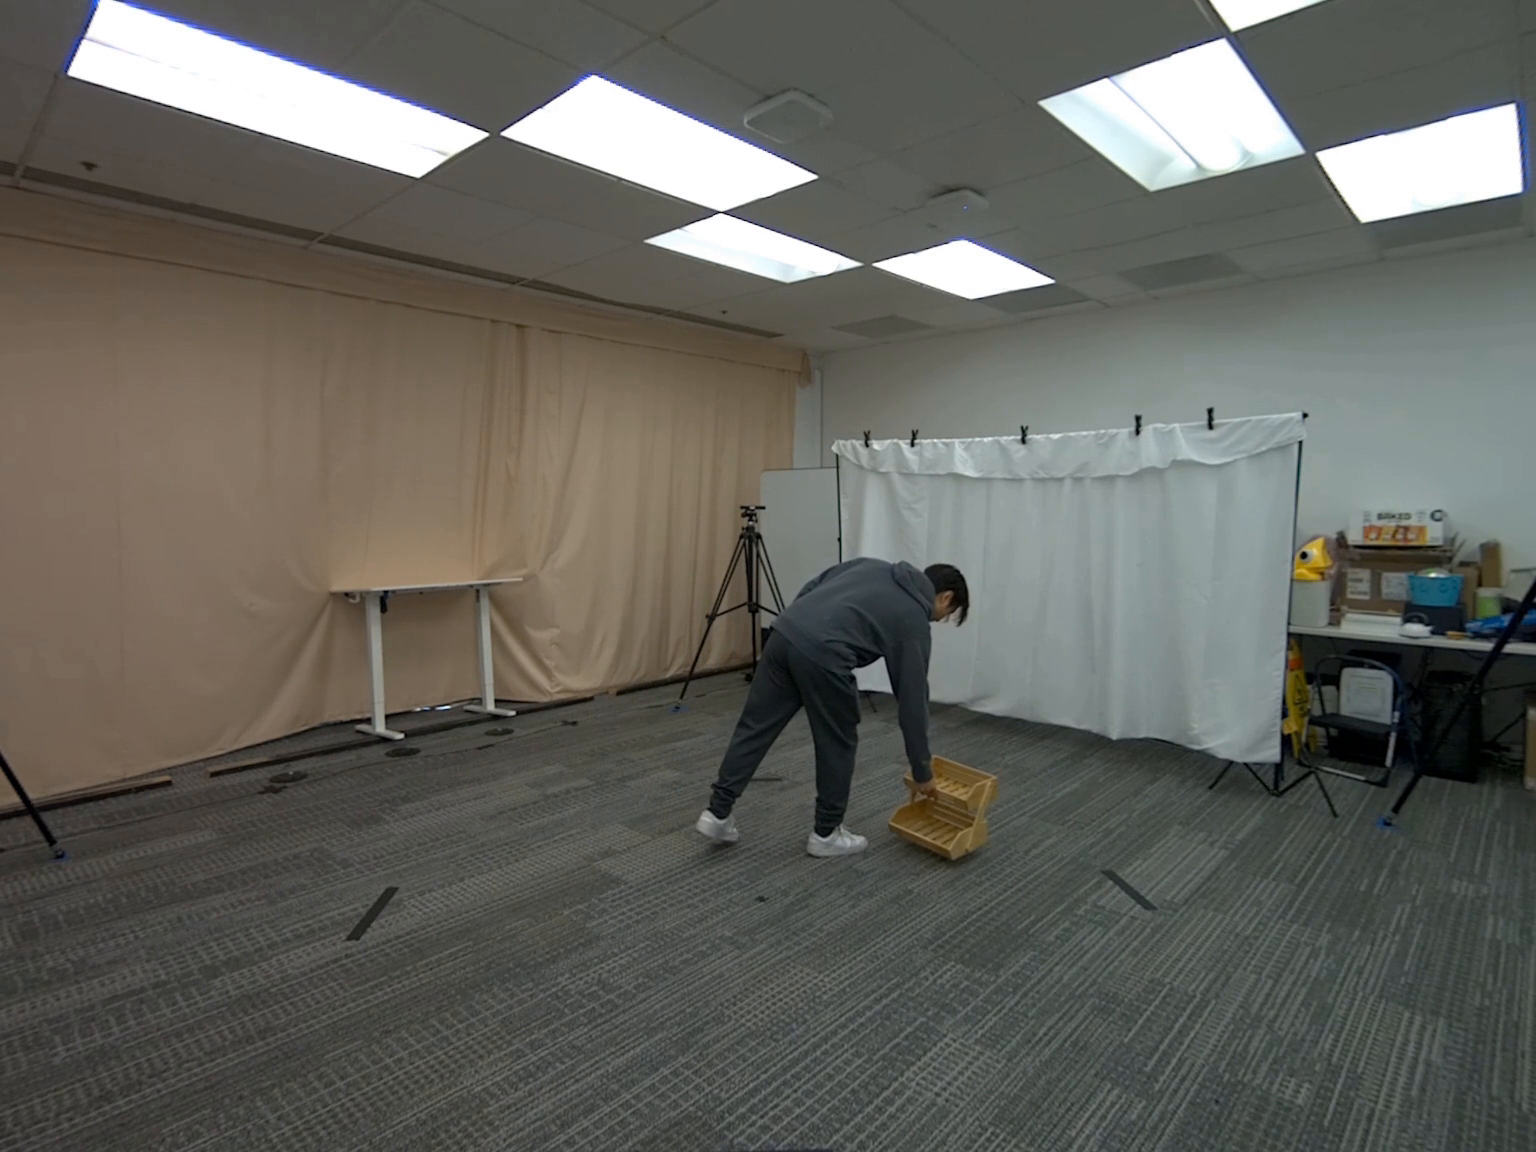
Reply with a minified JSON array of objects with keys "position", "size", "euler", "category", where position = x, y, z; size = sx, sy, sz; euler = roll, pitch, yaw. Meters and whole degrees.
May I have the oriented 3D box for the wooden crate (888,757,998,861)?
[{"position":[0.701,0.918,3.383],"size":[0.293,0.272,0.336],"euler":[-5,10,-41],"category":"wooden crate"}]
